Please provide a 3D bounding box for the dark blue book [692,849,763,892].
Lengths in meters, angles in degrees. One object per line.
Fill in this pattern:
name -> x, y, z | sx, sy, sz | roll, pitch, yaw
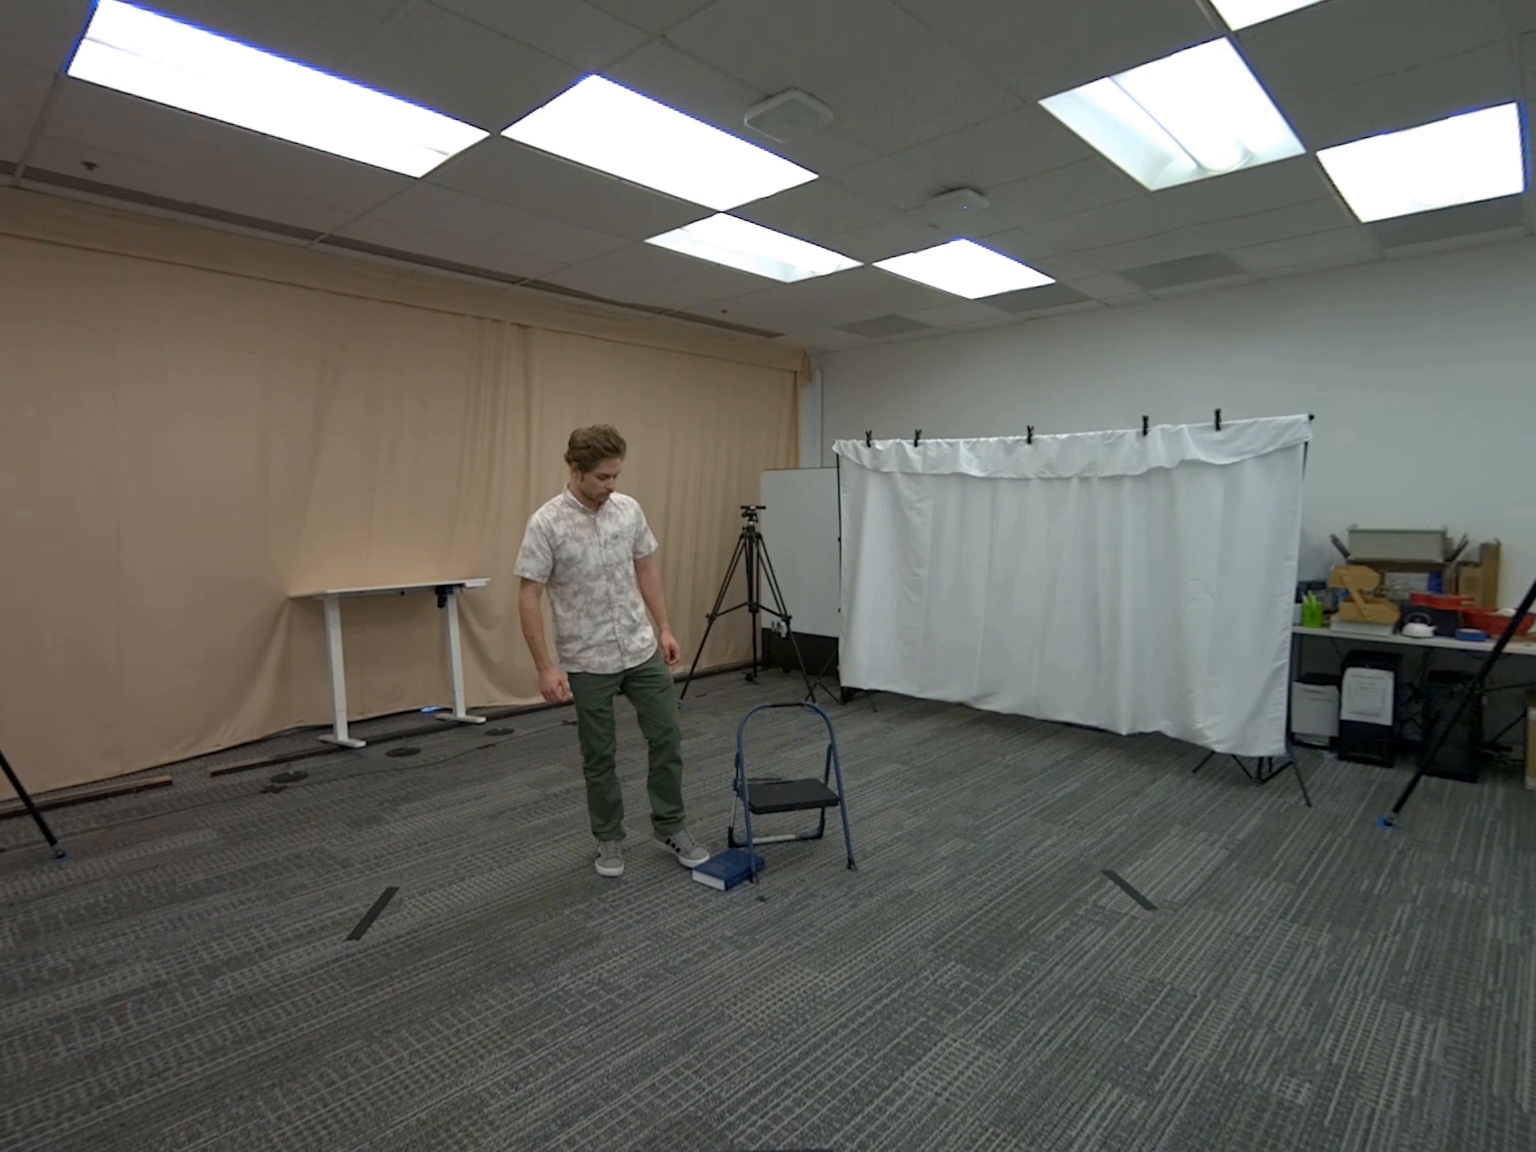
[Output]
dark blue book -> -0.147, 1.105, 3.174 | 0.169, 0.045, 0.238 | 3, 6, 37
